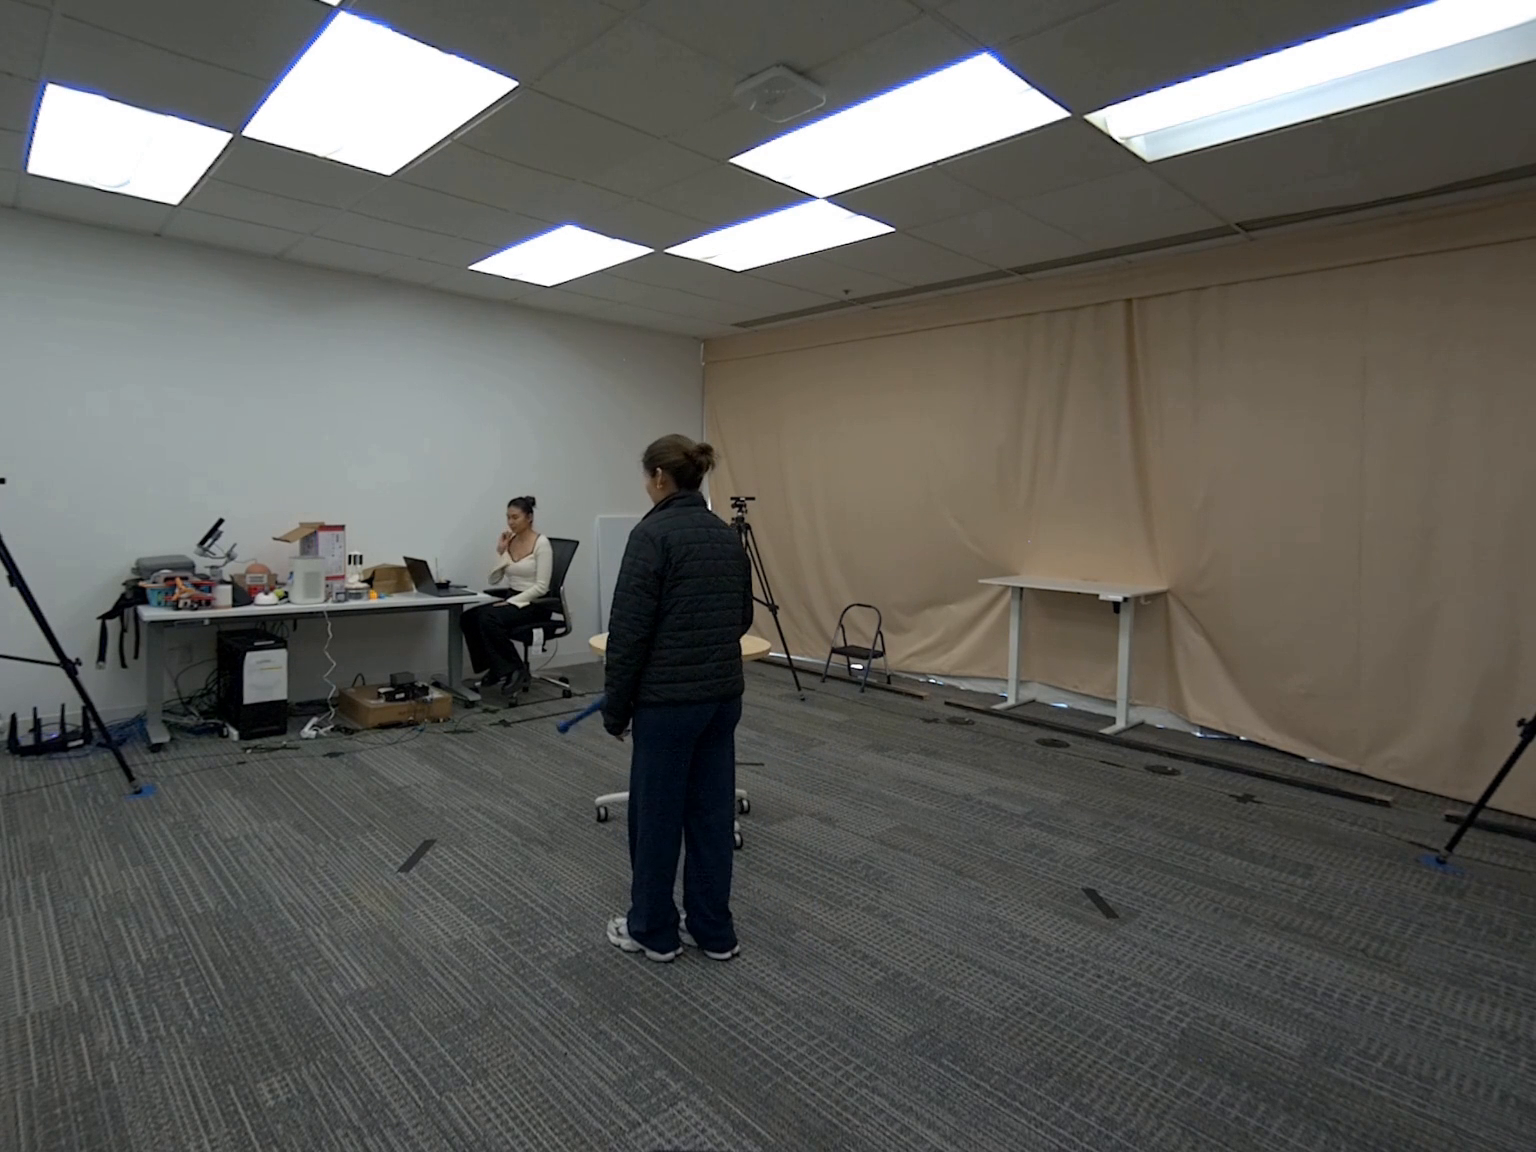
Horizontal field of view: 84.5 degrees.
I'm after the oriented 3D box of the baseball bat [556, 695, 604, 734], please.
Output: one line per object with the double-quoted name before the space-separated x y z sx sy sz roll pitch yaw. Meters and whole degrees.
"baseball bat" -0.552 0.402 2.862 0.546 0.090 0.087 -34 -14 28
